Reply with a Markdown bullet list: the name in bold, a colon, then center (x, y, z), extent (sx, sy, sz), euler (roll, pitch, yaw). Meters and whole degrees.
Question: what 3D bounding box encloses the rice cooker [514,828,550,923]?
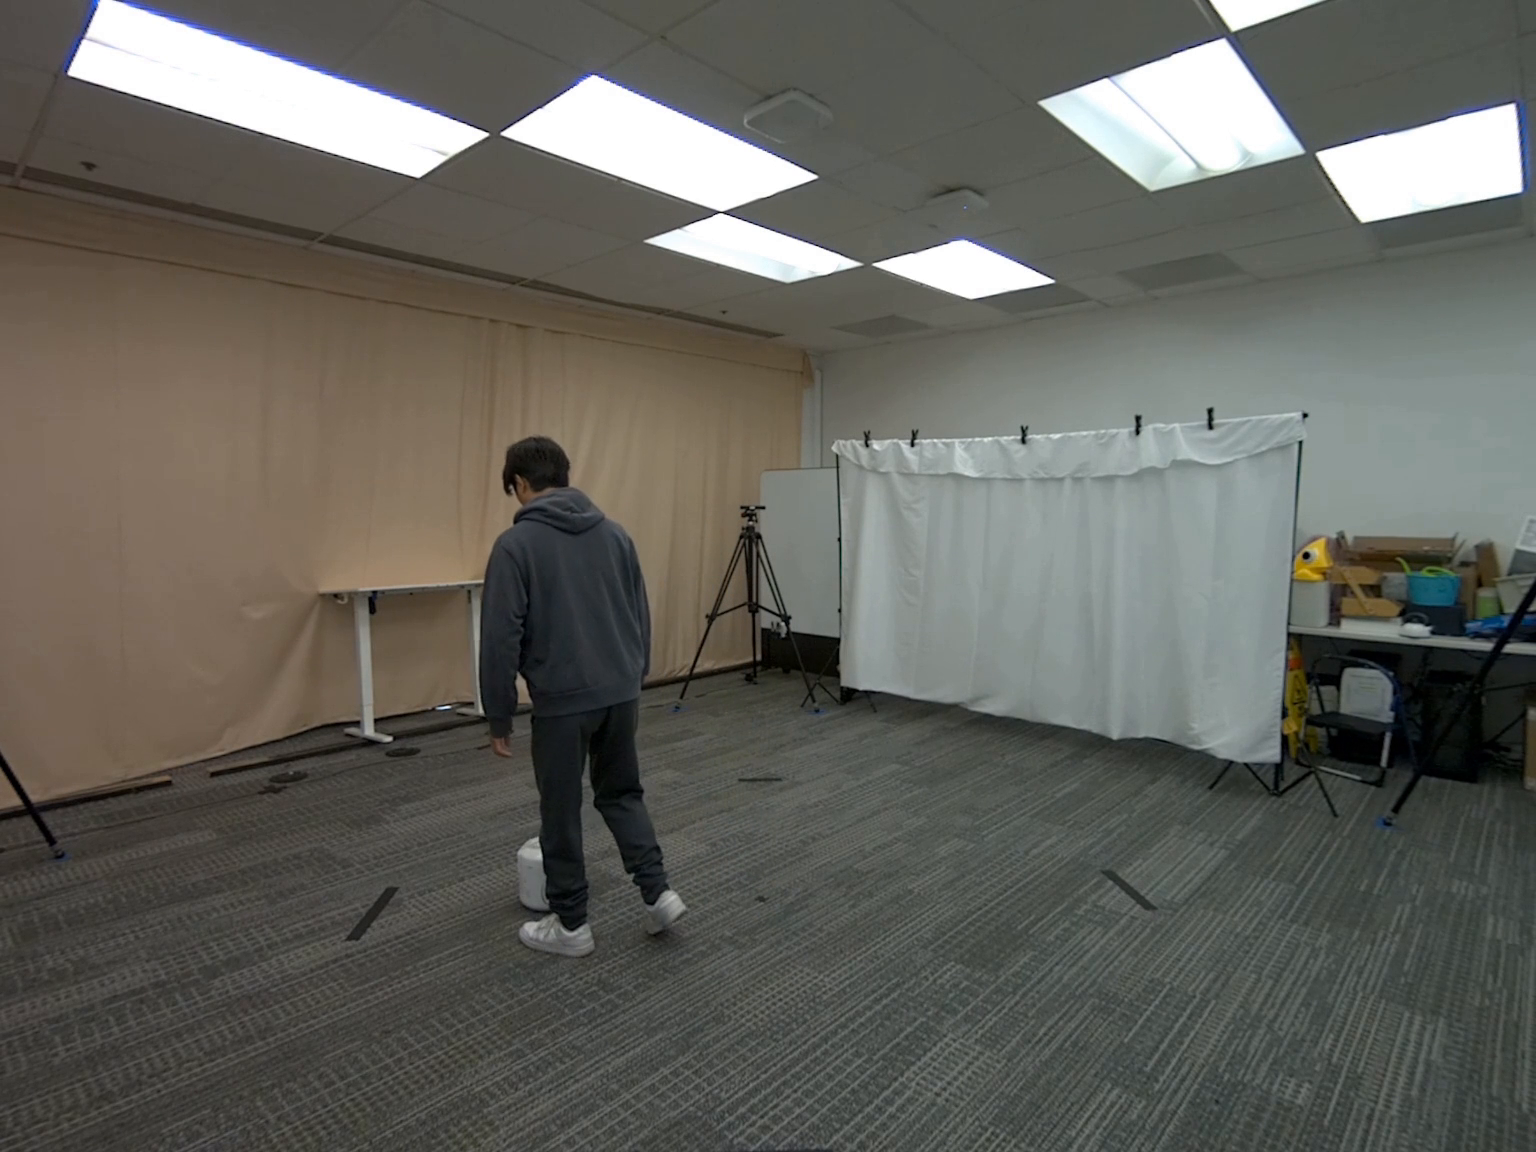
- **rice cooker**: center (-0.774, 1.036, 2.972), extent (0.217, 0.232, 0.221), euler (-1, 2, -16)
